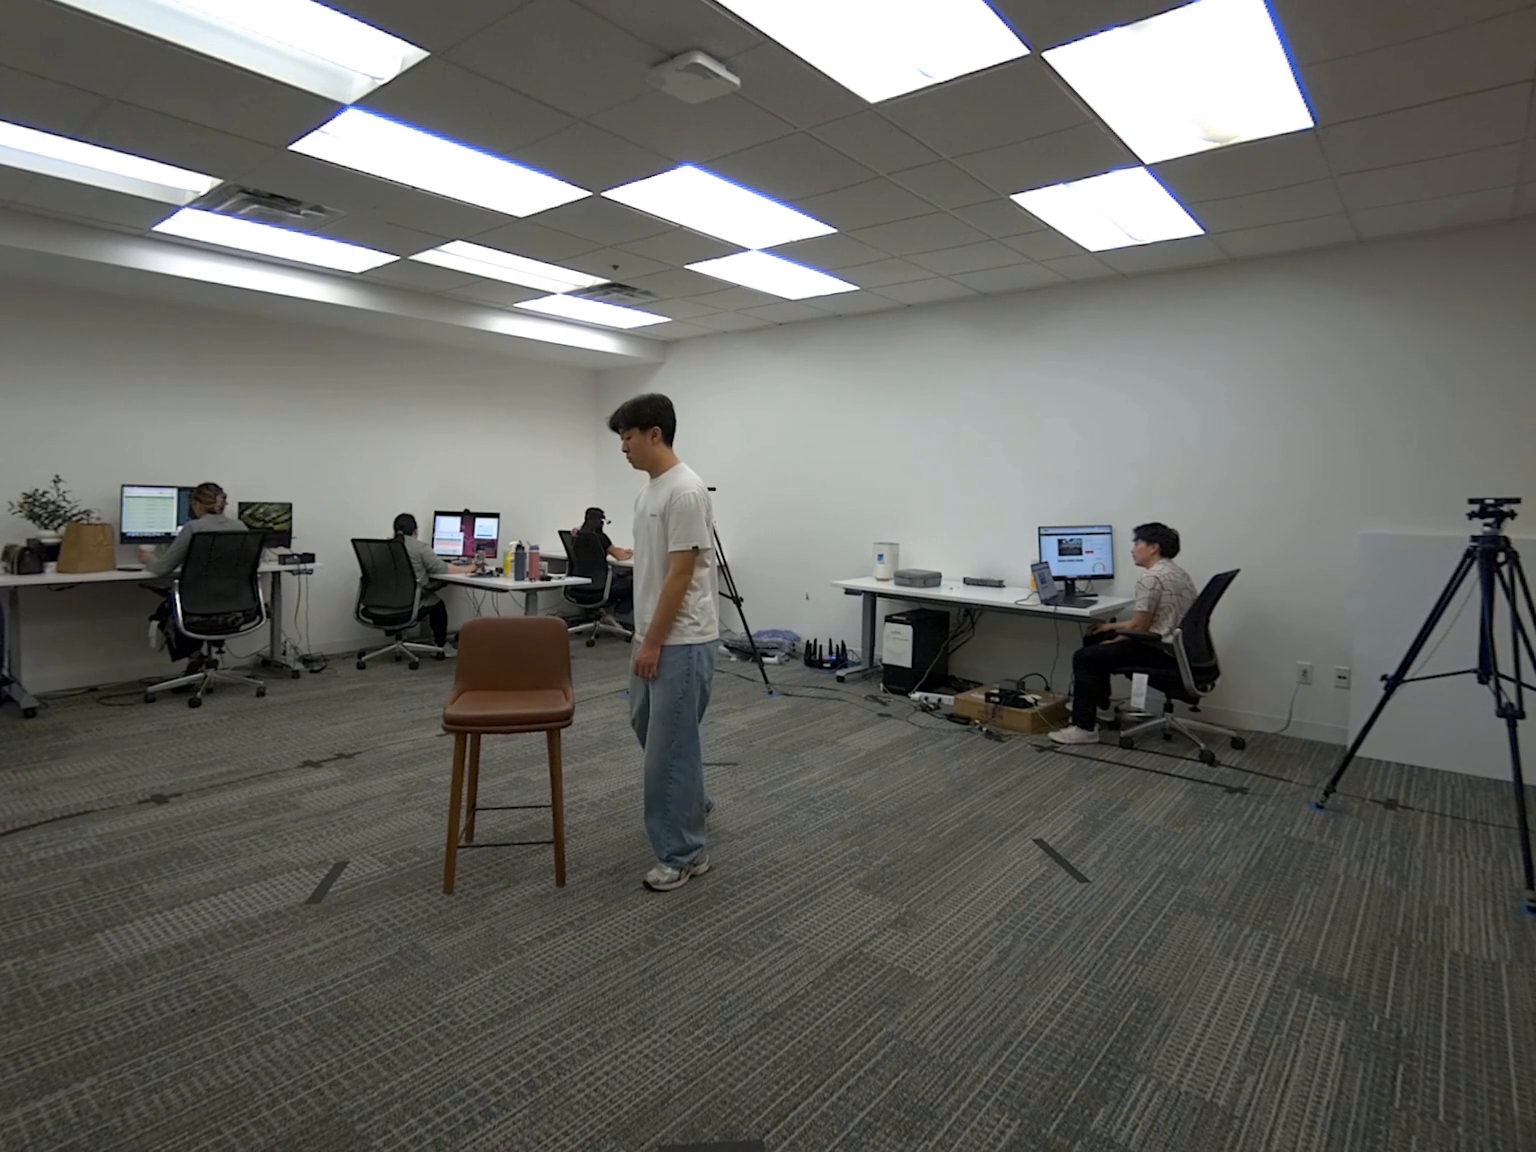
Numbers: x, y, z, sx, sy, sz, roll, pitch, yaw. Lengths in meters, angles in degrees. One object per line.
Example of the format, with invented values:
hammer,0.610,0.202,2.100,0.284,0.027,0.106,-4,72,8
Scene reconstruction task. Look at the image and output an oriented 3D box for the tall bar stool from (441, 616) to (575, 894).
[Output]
tall bar stool,-0.957,0.620,3.120,0.451,0.889,0.473,0,1,-11
